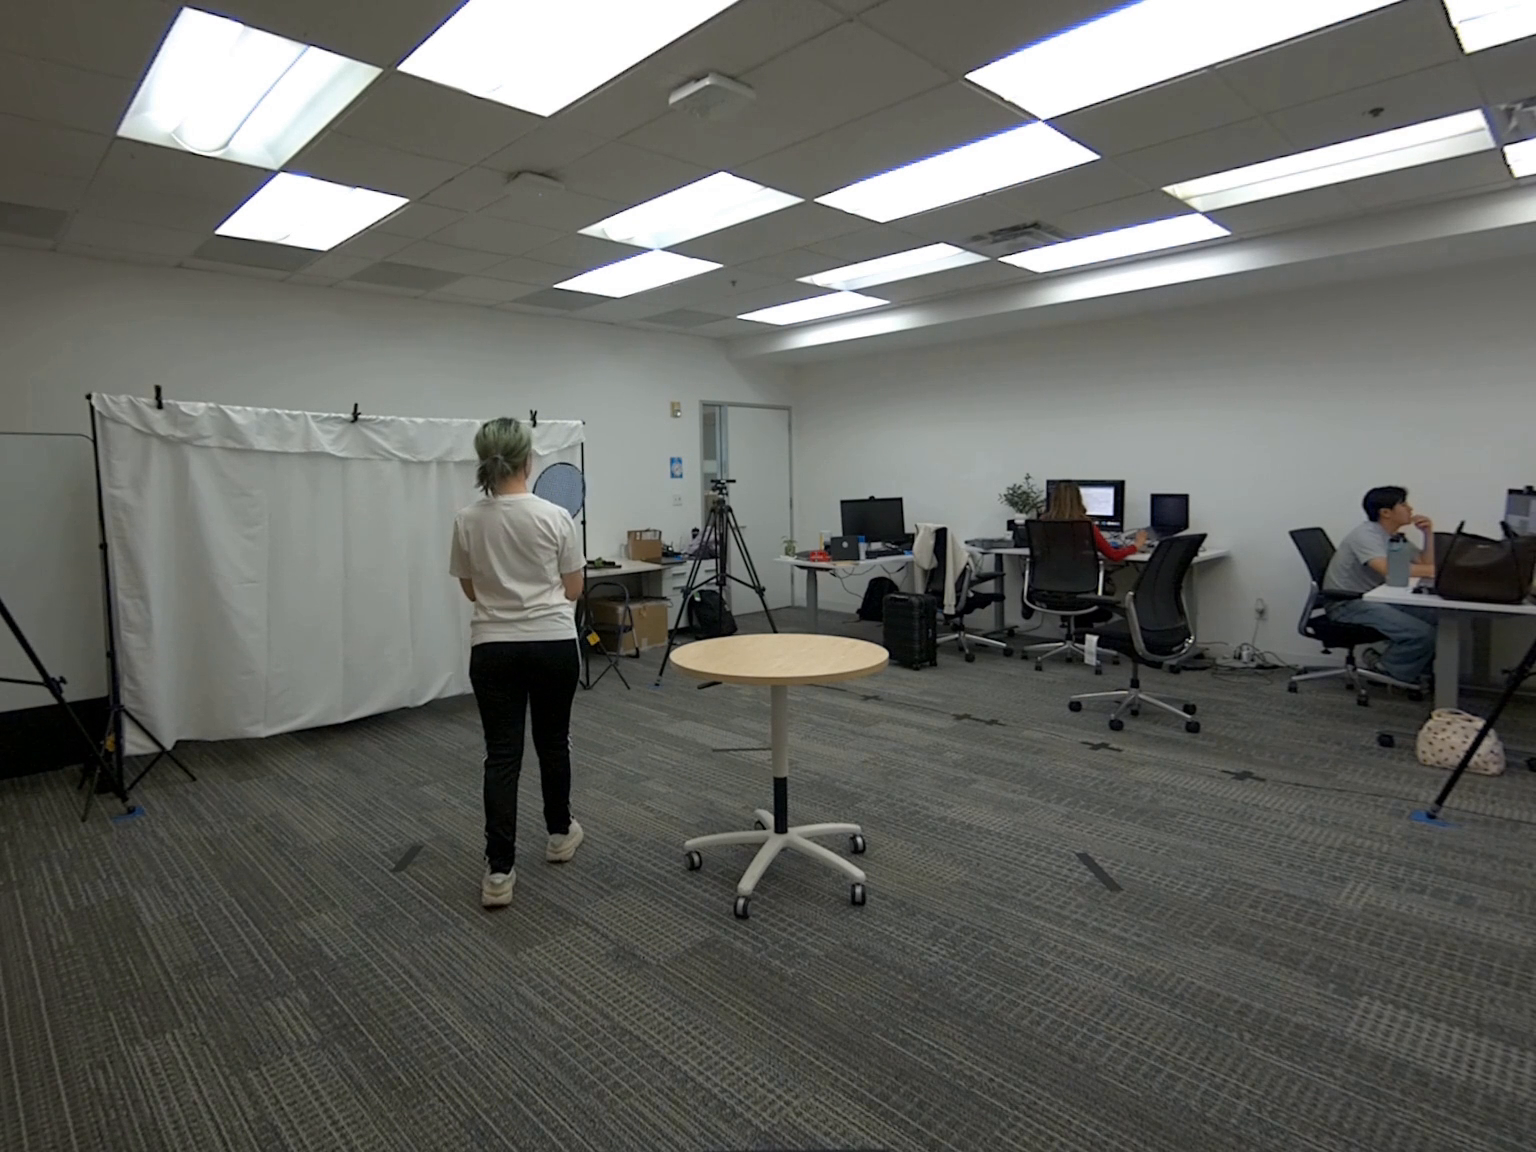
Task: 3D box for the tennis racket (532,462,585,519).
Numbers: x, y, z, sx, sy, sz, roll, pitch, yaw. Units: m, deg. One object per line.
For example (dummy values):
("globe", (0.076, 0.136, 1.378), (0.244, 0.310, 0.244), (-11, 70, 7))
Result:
("tennis racket", (-0.821, -0.243, 3.336), (0.213, 0.438, 0.031), (2, -13, -2))
